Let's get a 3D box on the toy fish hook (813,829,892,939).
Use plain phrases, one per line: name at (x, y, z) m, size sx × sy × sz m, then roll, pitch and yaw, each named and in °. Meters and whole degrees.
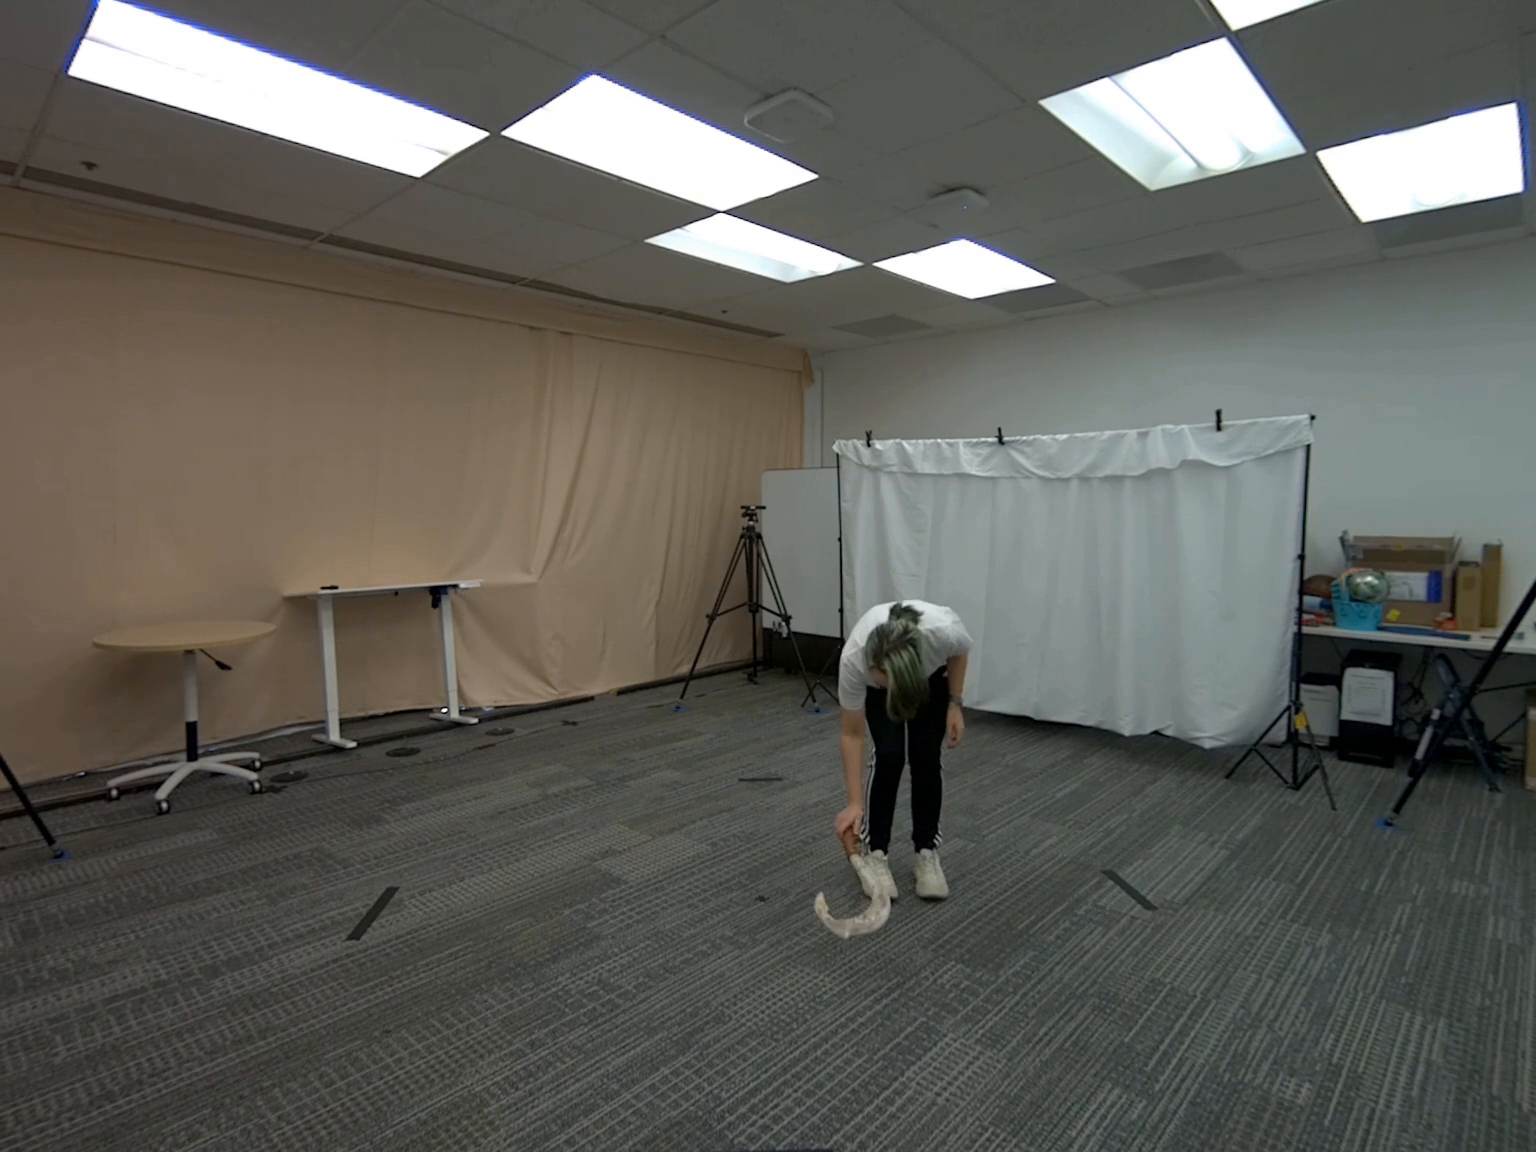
toy fish hook at (0.244, 0.930, 2.659) m, size 0.225 × 0.047 × 0.514 m, roll -15°, pitch 19°, yaw 0°
